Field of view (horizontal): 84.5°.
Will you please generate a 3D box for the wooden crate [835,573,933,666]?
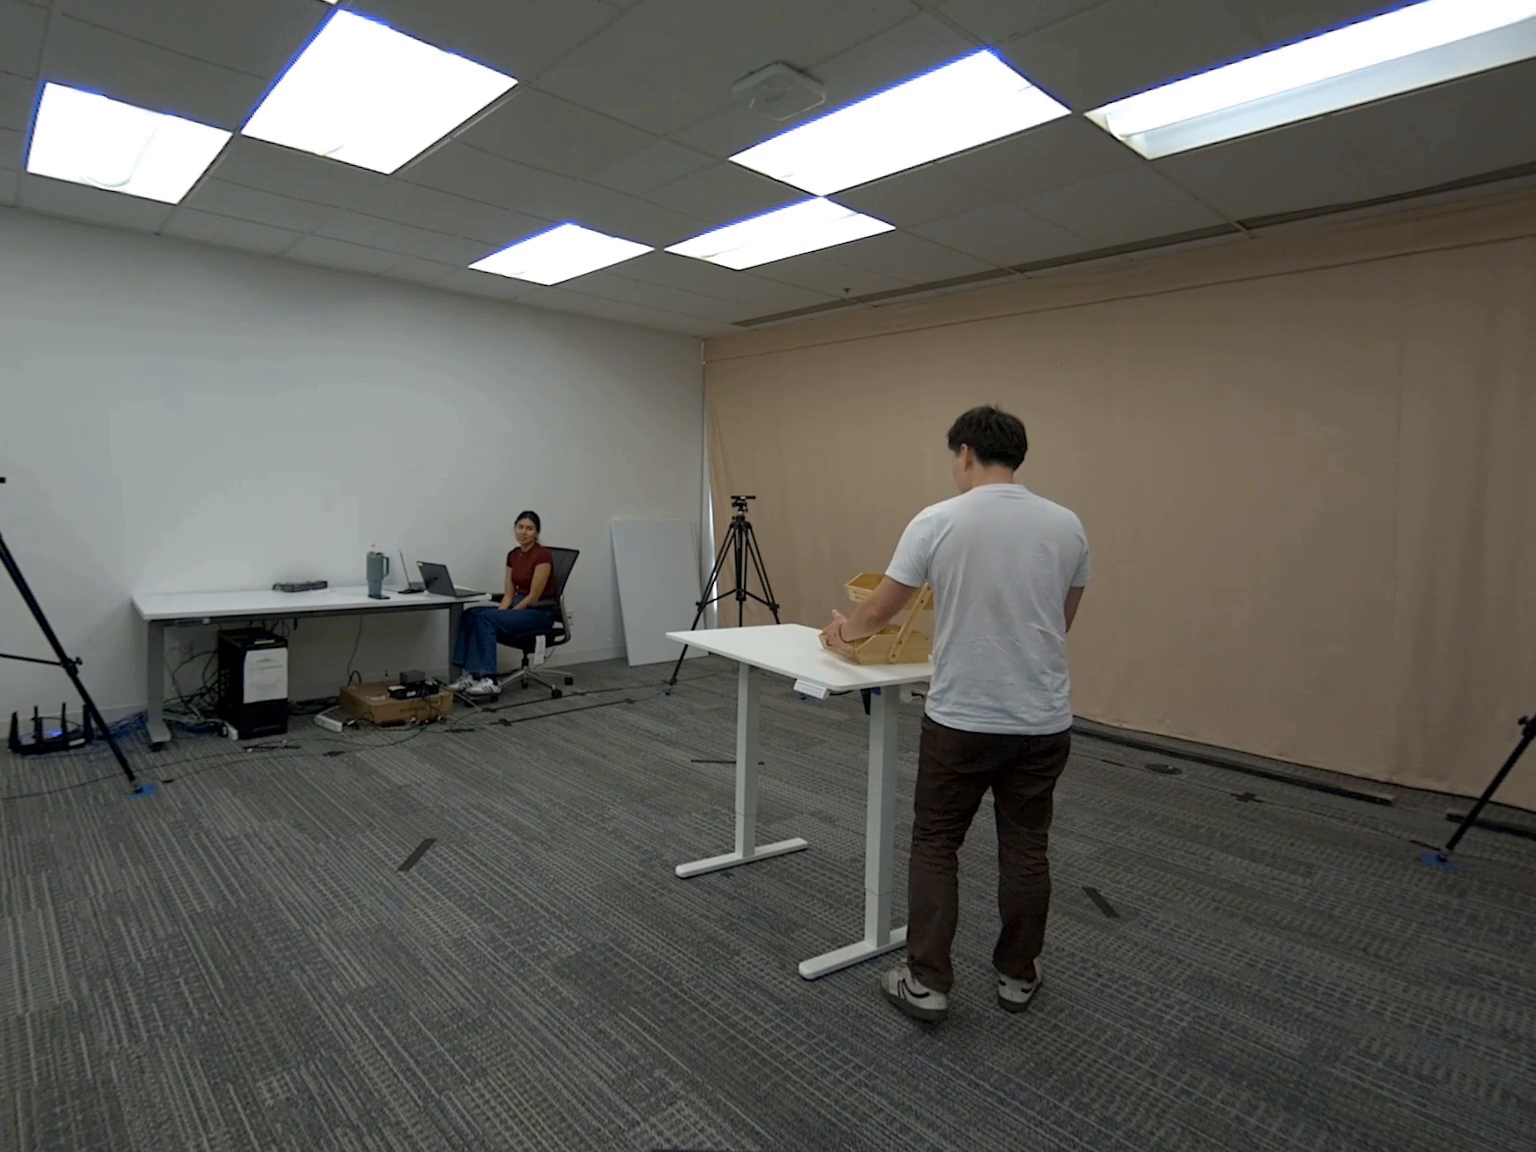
[{"bbox_3d":[0.363,0.132,2.764,0.297,0.272,0.330,0,5,-19],"label":"wooden crate"}]
